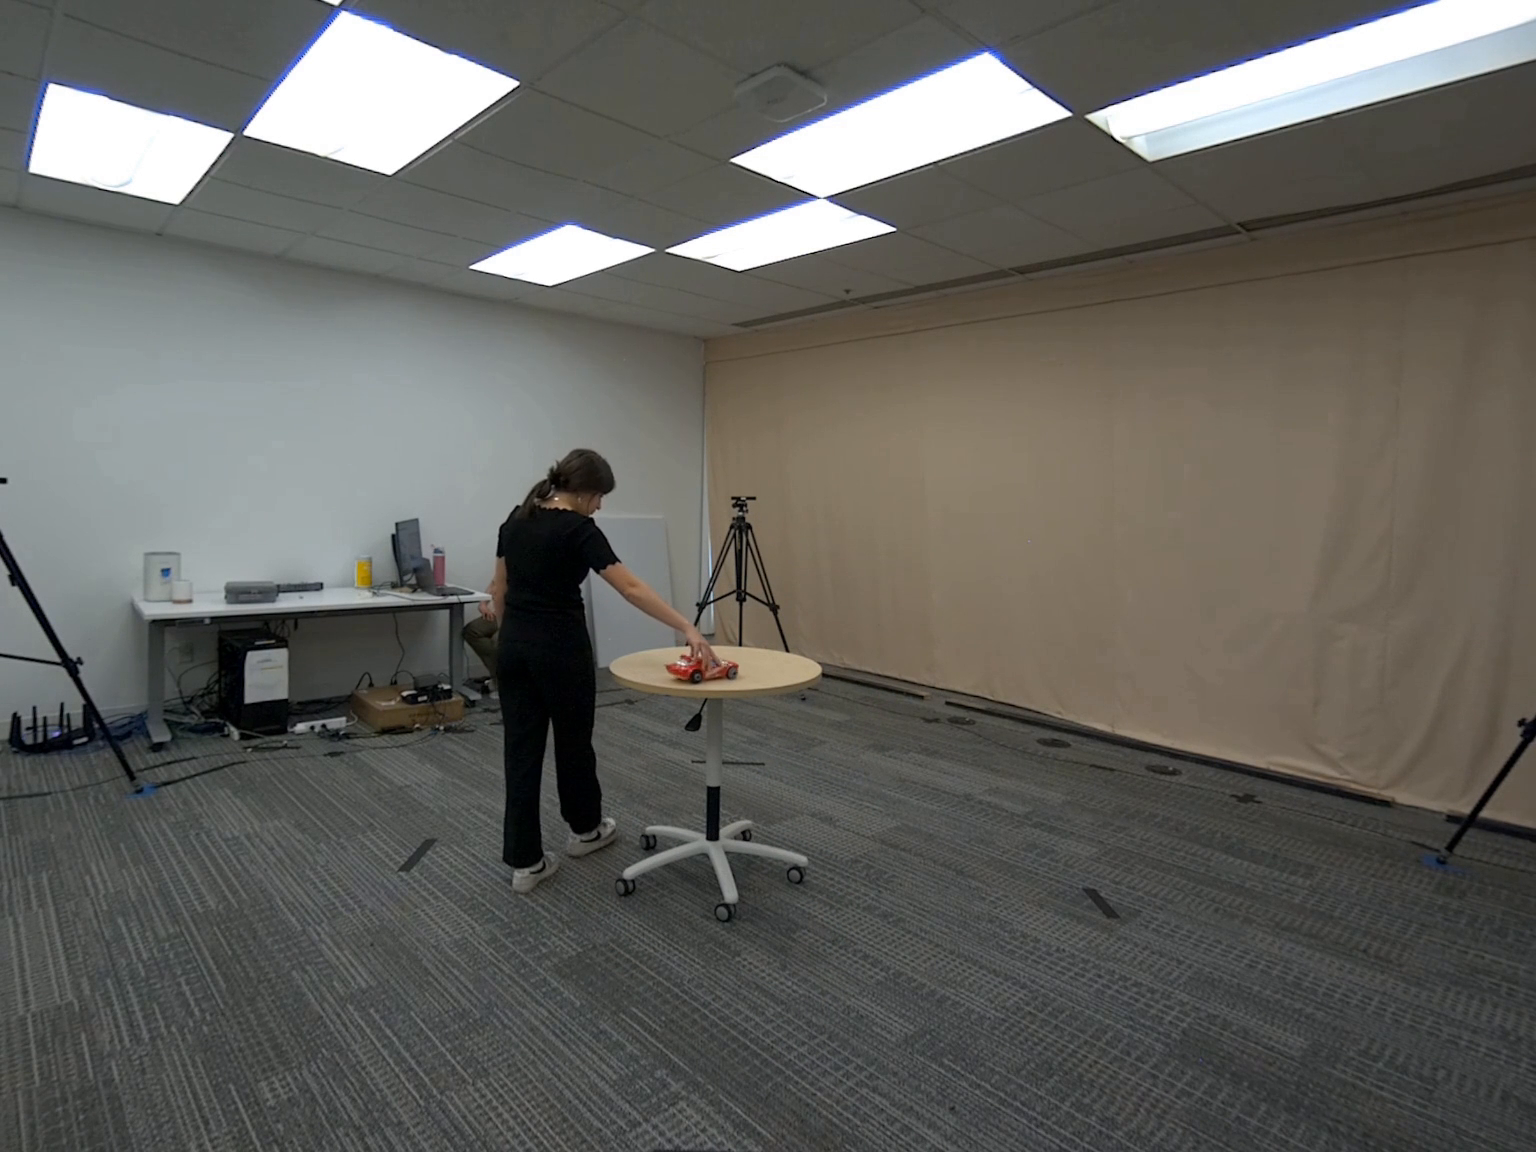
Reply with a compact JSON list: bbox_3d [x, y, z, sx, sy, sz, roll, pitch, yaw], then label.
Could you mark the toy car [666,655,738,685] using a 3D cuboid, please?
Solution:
[{"bbox_3d":[-0.235,0.318,2.817,0.248,0.083,0.133,11,-2,-36],"label":"toy car"}]
